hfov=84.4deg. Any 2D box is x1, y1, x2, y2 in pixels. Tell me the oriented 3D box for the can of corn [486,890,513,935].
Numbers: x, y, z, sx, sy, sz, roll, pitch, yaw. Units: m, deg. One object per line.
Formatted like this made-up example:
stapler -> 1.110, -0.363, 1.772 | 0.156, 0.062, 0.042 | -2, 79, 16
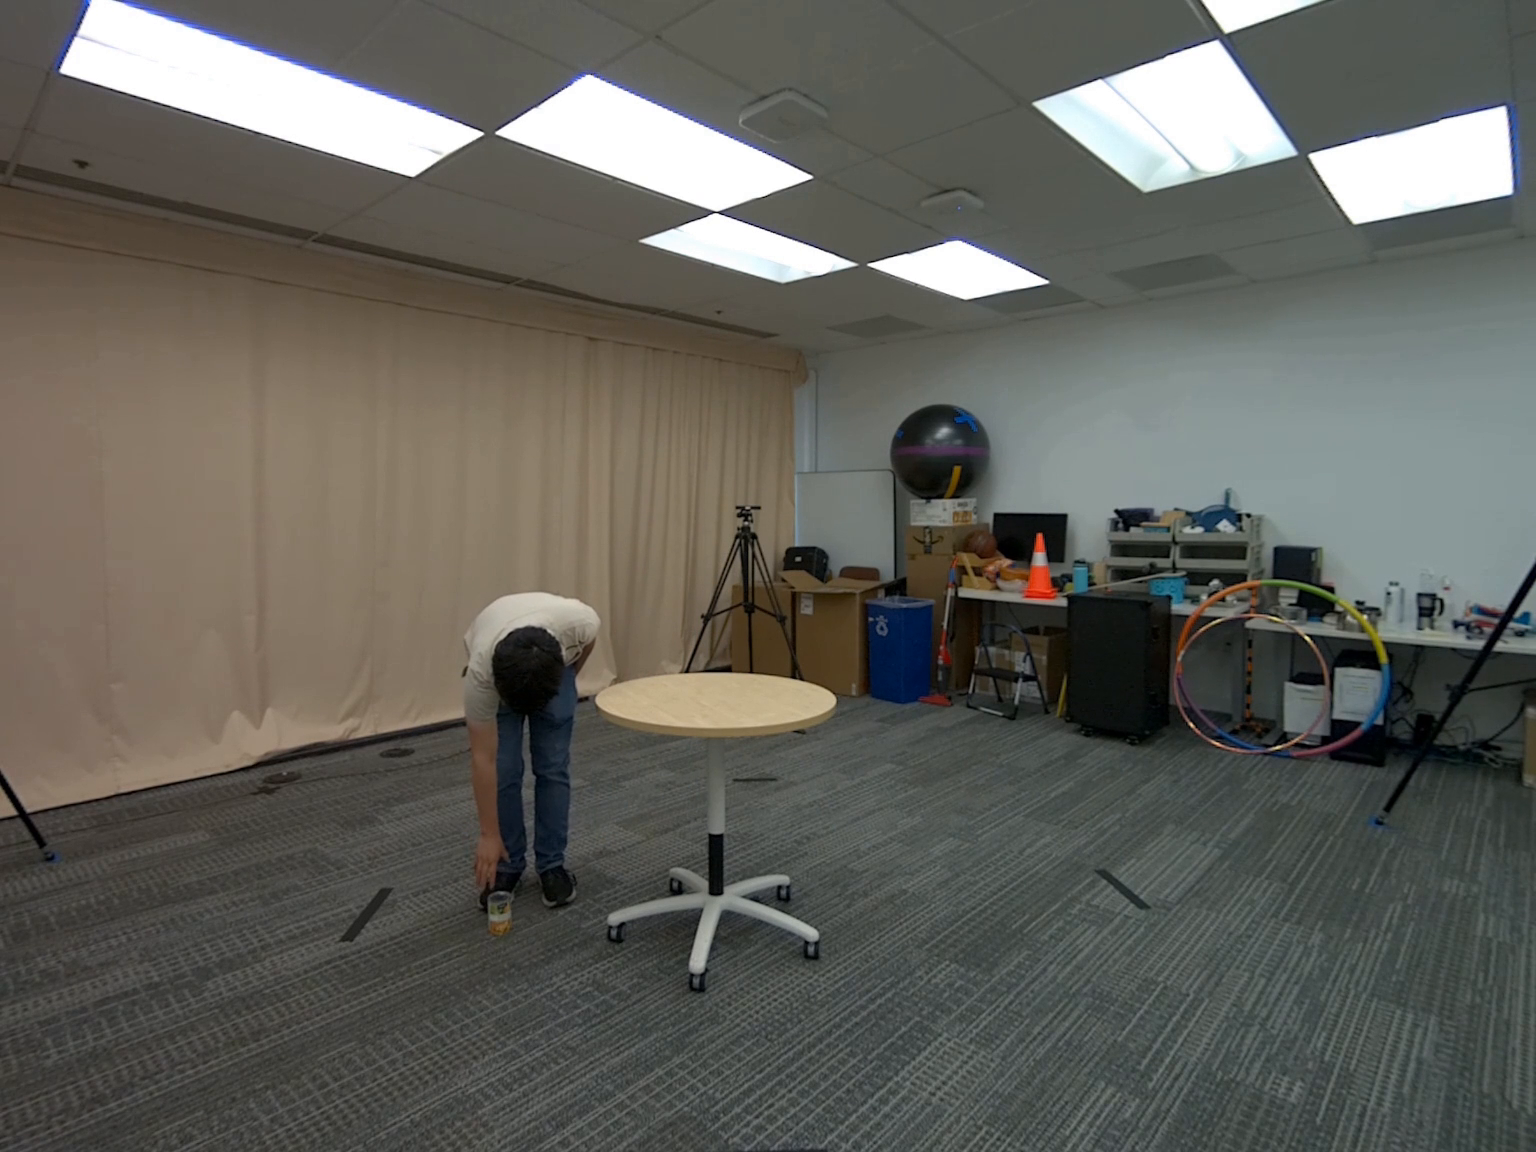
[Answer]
can of corn -> -0.886, 1.107, 2.778 | 0.074, 0.111, 0.074 | -1, 2, -2
